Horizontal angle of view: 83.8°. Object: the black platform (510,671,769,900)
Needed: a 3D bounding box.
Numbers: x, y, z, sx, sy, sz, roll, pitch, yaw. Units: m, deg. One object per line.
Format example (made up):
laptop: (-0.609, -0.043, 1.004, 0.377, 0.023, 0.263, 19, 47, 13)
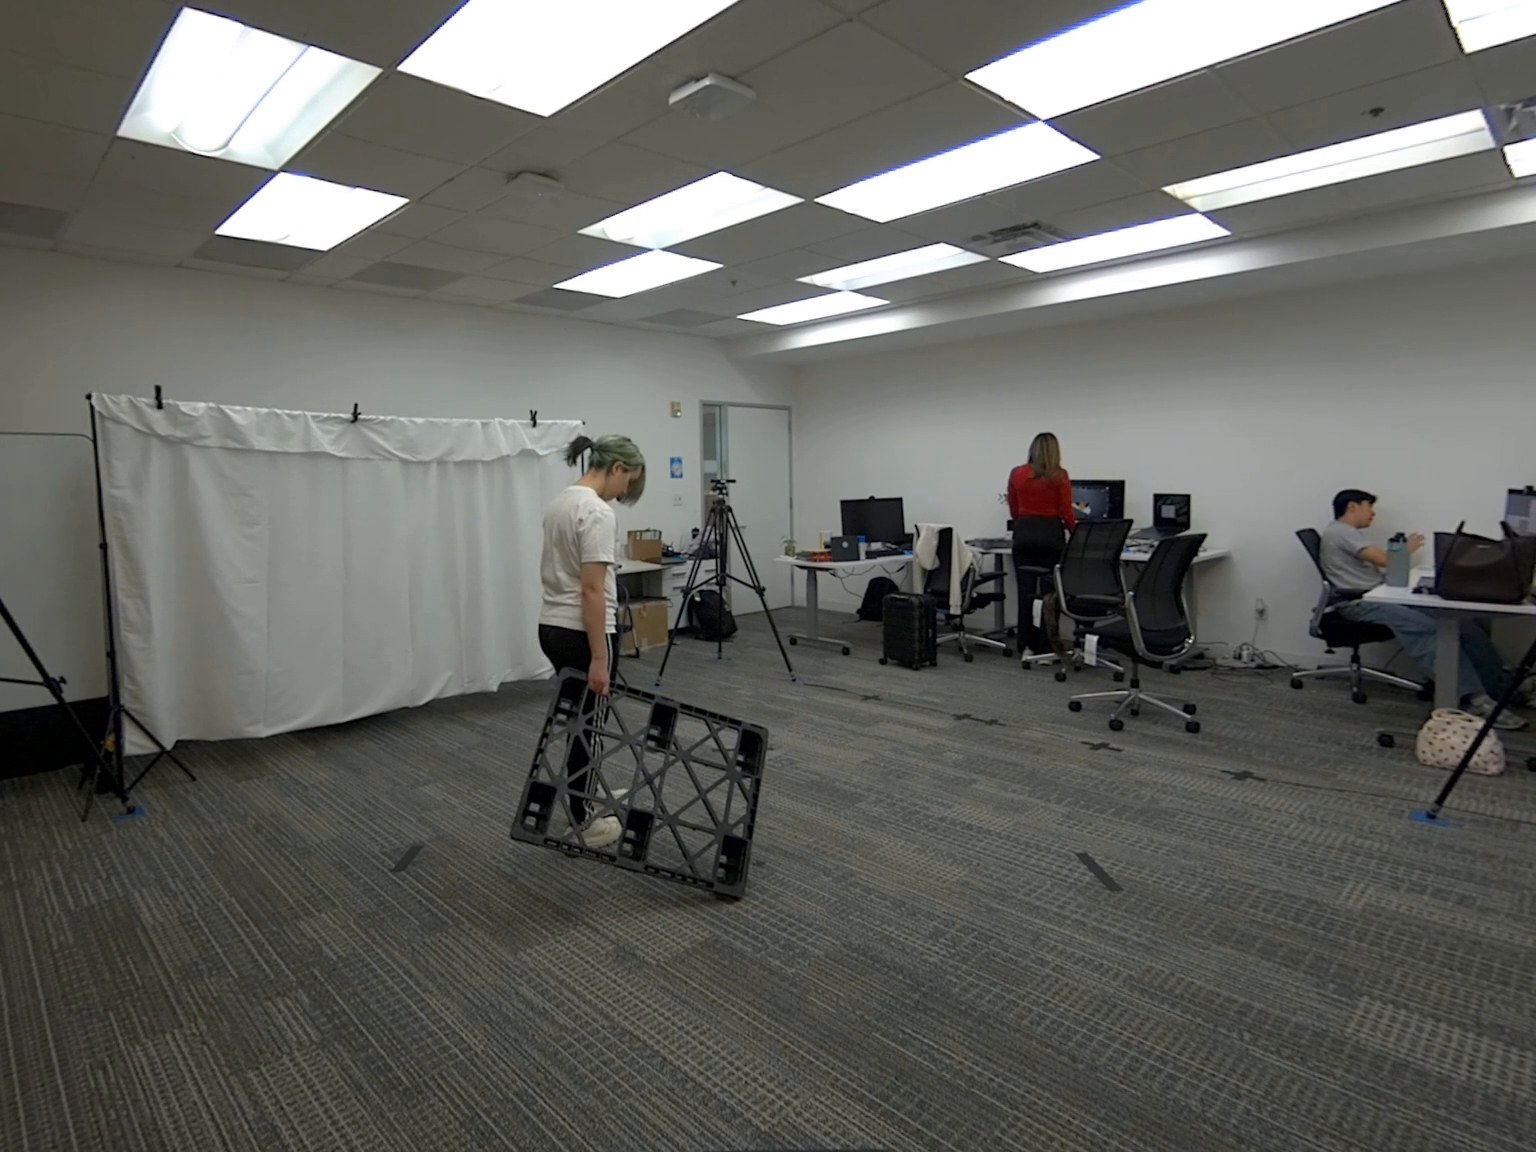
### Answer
black platform: (-0.424, 0.722, 2.979, 0.796, 0.616, 0.142, 18, -33, -9)
